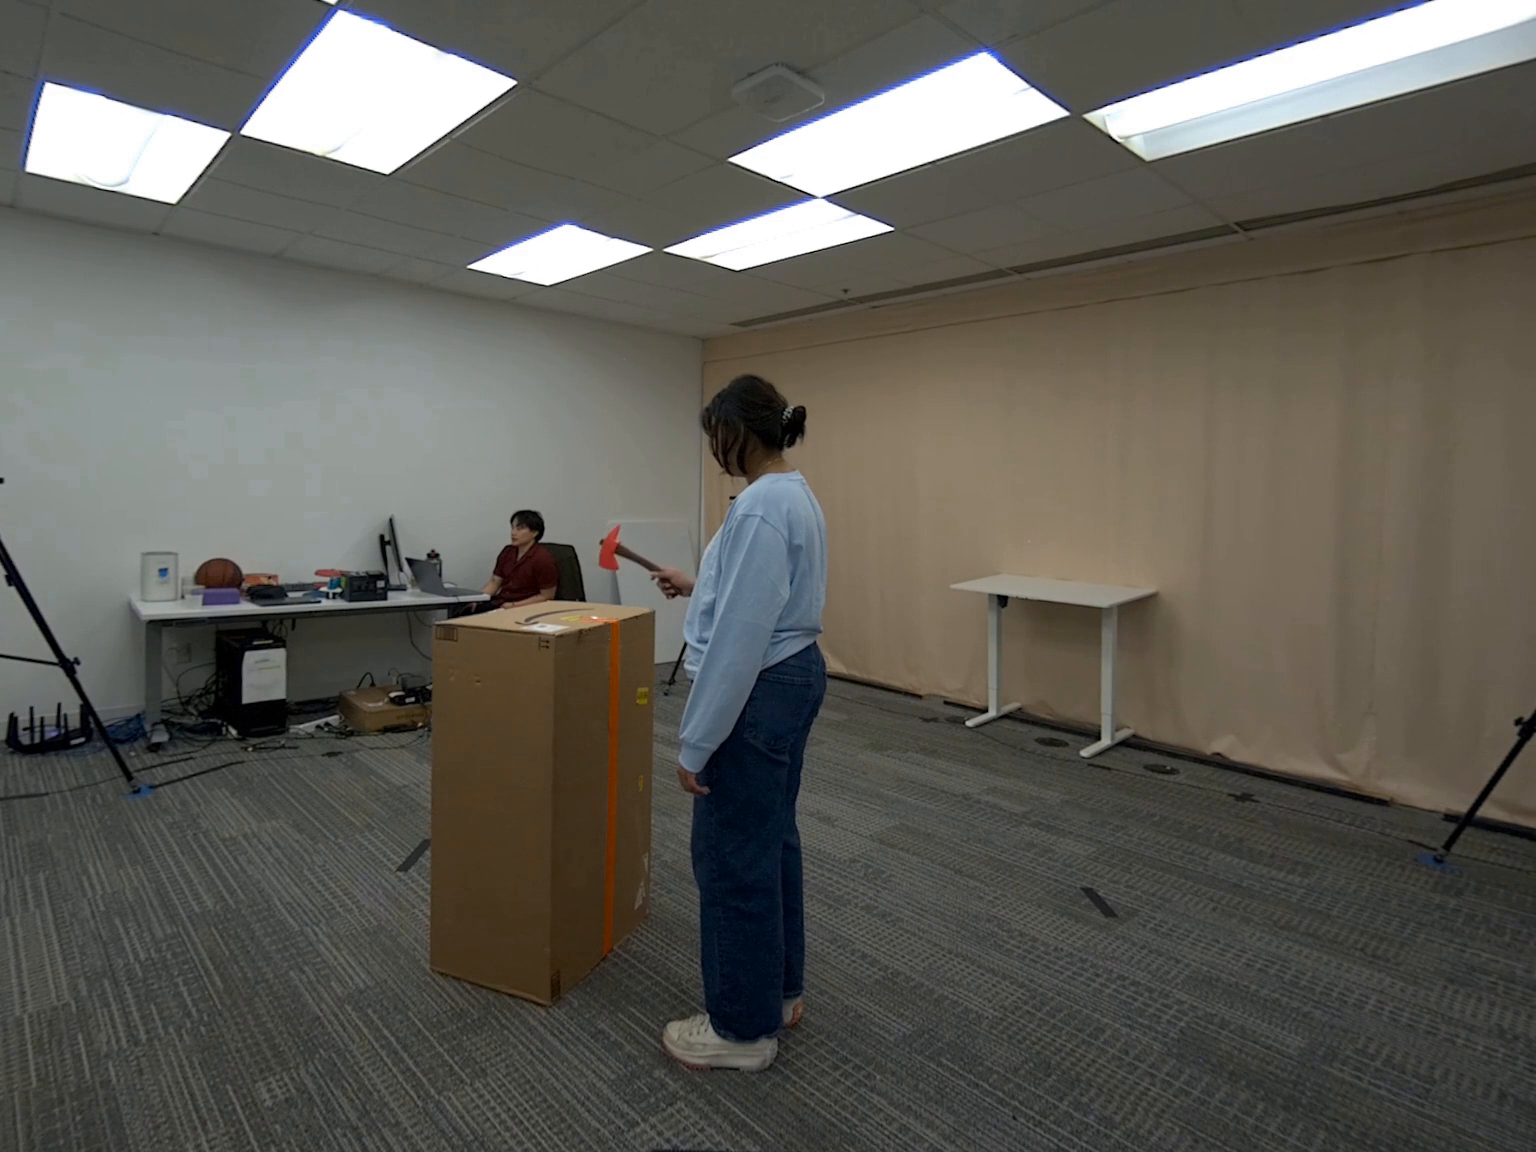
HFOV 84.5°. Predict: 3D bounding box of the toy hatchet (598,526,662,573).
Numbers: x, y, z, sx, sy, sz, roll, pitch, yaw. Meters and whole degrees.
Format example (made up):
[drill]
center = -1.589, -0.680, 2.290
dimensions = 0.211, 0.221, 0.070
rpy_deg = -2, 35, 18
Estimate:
[toy hatchet]
center = -0.387, -0.026, 2.390
dimensions = 0.271, 0.131, 0.029
rpy_deg = 42, 6, 2
